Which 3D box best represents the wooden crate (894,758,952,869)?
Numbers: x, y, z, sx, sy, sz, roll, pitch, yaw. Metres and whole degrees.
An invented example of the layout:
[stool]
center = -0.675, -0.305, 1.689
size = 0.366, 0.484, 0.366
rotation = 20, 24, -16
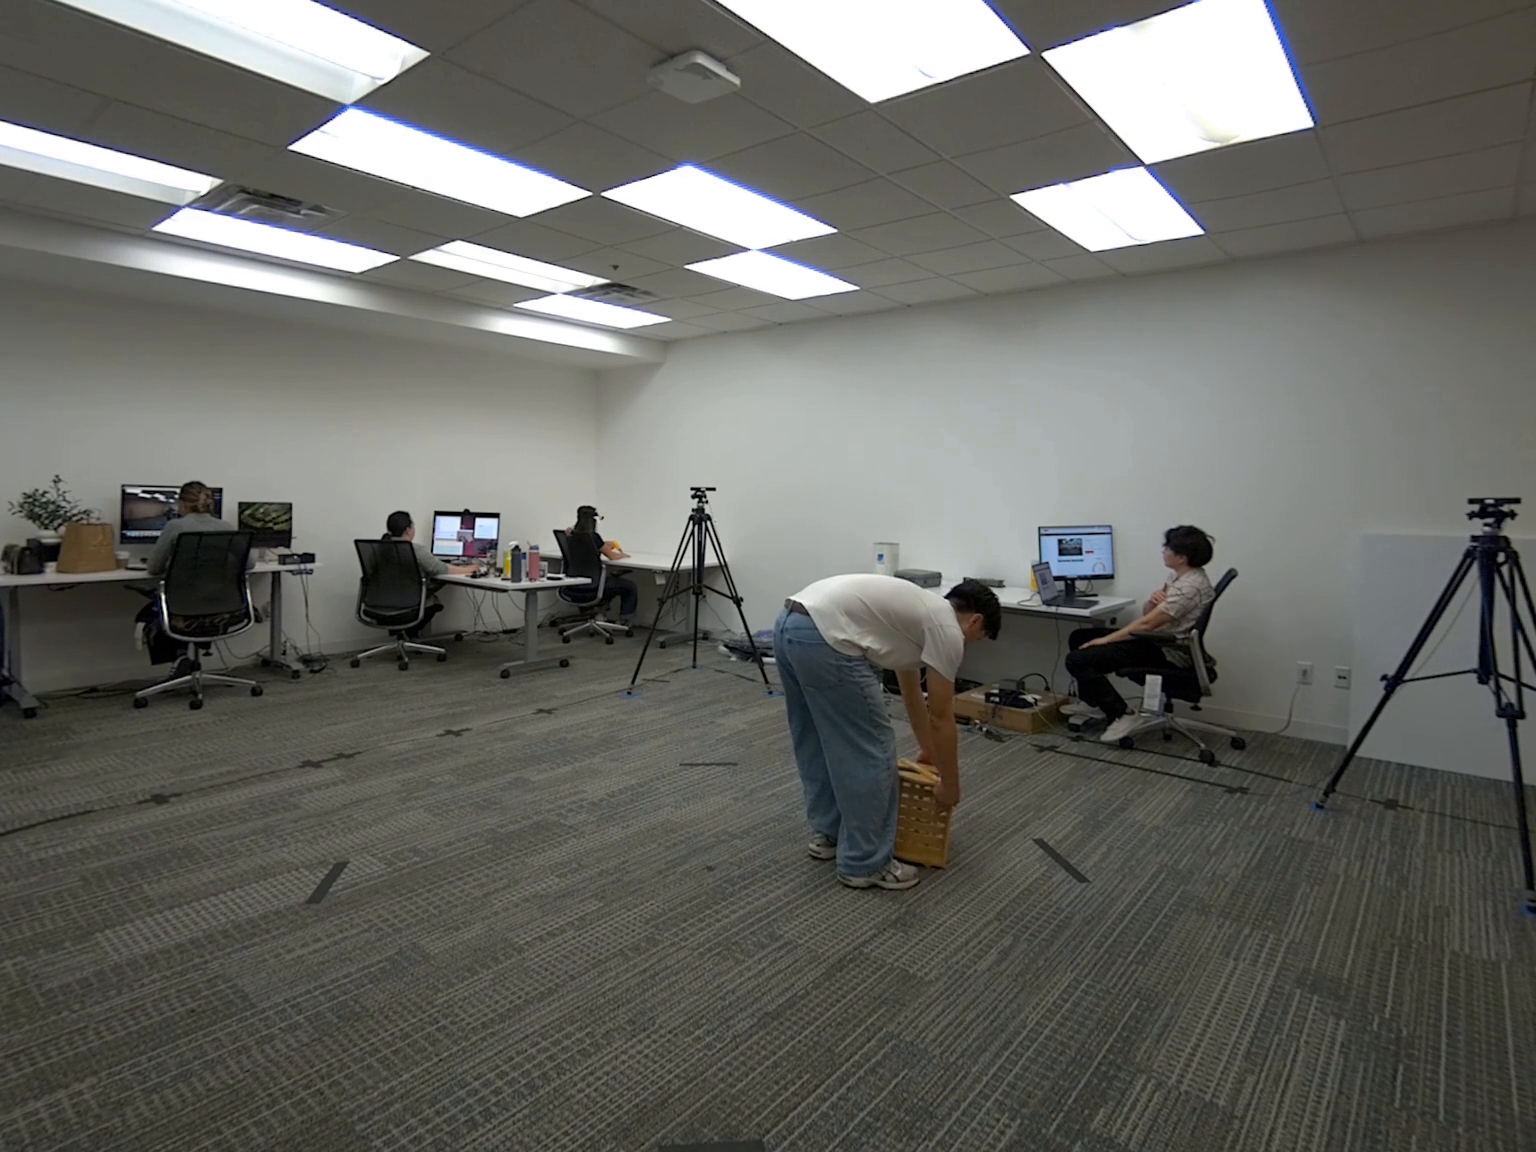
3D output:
[wooden crate]
center = 0.531, 0.894, 3.284
size = 0.306, 0.324, 0.270
rotation = 6, 1, 11
